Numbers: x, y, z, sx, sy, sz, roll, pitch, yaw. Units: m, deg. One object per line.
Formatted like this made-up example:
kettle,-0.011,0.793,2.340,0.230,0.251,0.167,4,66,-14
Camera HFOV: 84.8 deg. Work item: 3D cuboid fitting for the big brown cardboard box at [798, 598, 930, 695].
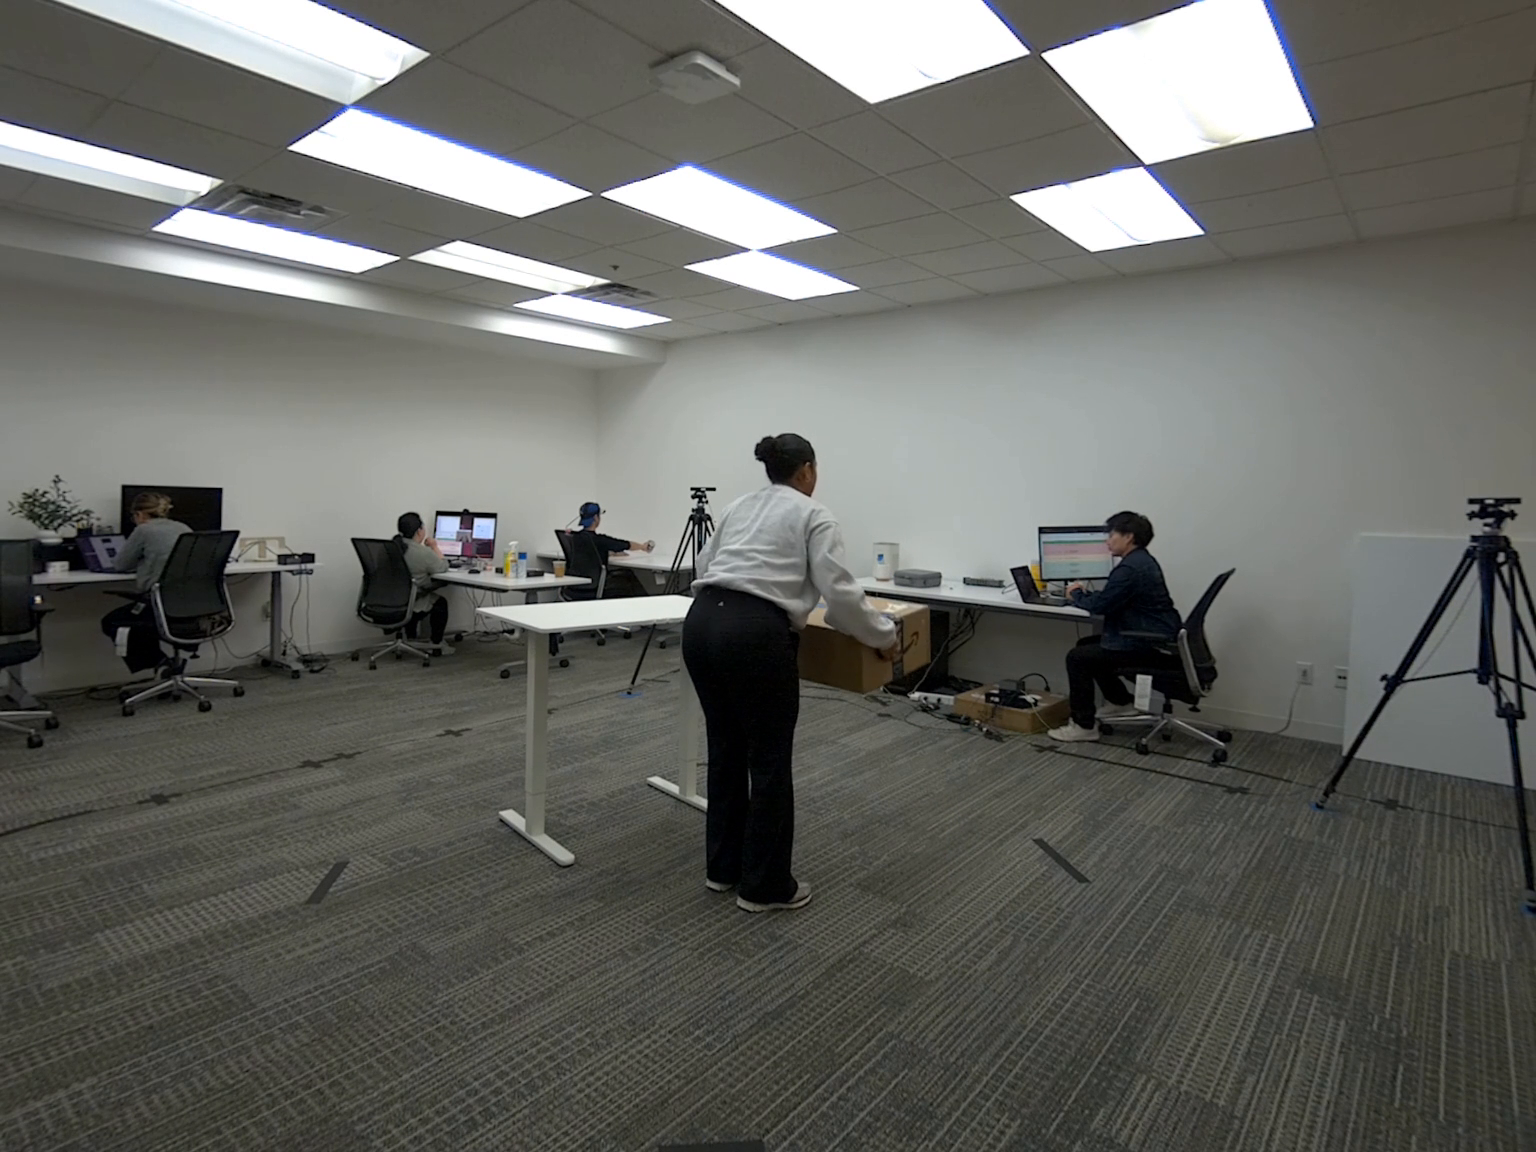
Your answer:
big brown cardboard box,0.230,0.225,3.145,0.609,0.230,0.408,7,16,42
